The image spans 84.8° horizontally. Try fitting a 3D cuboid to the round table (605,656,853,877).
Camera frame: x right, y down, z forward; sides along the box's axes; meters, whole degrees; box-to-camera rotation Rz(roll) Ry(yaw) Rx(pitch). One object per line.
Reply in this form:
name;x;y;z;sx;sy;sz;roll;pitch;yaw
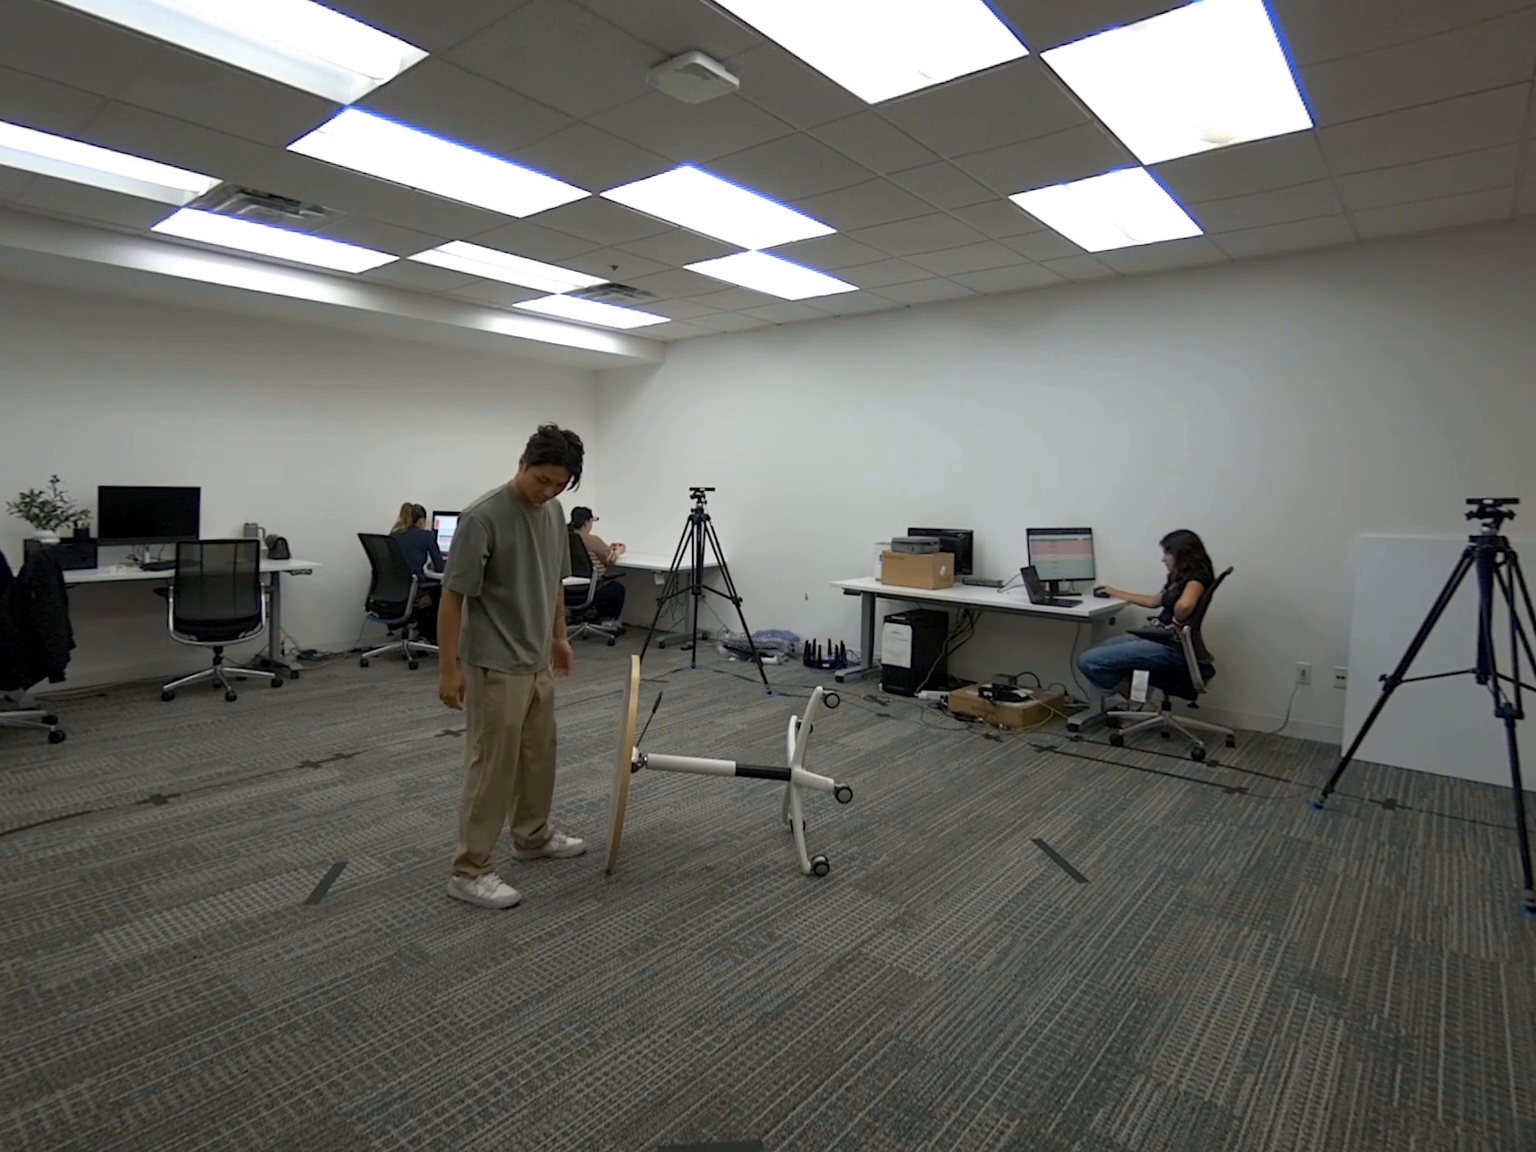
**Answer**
round table;-0.175;0.715;3.203;0.778;0.783;0.796;6;3;-10
